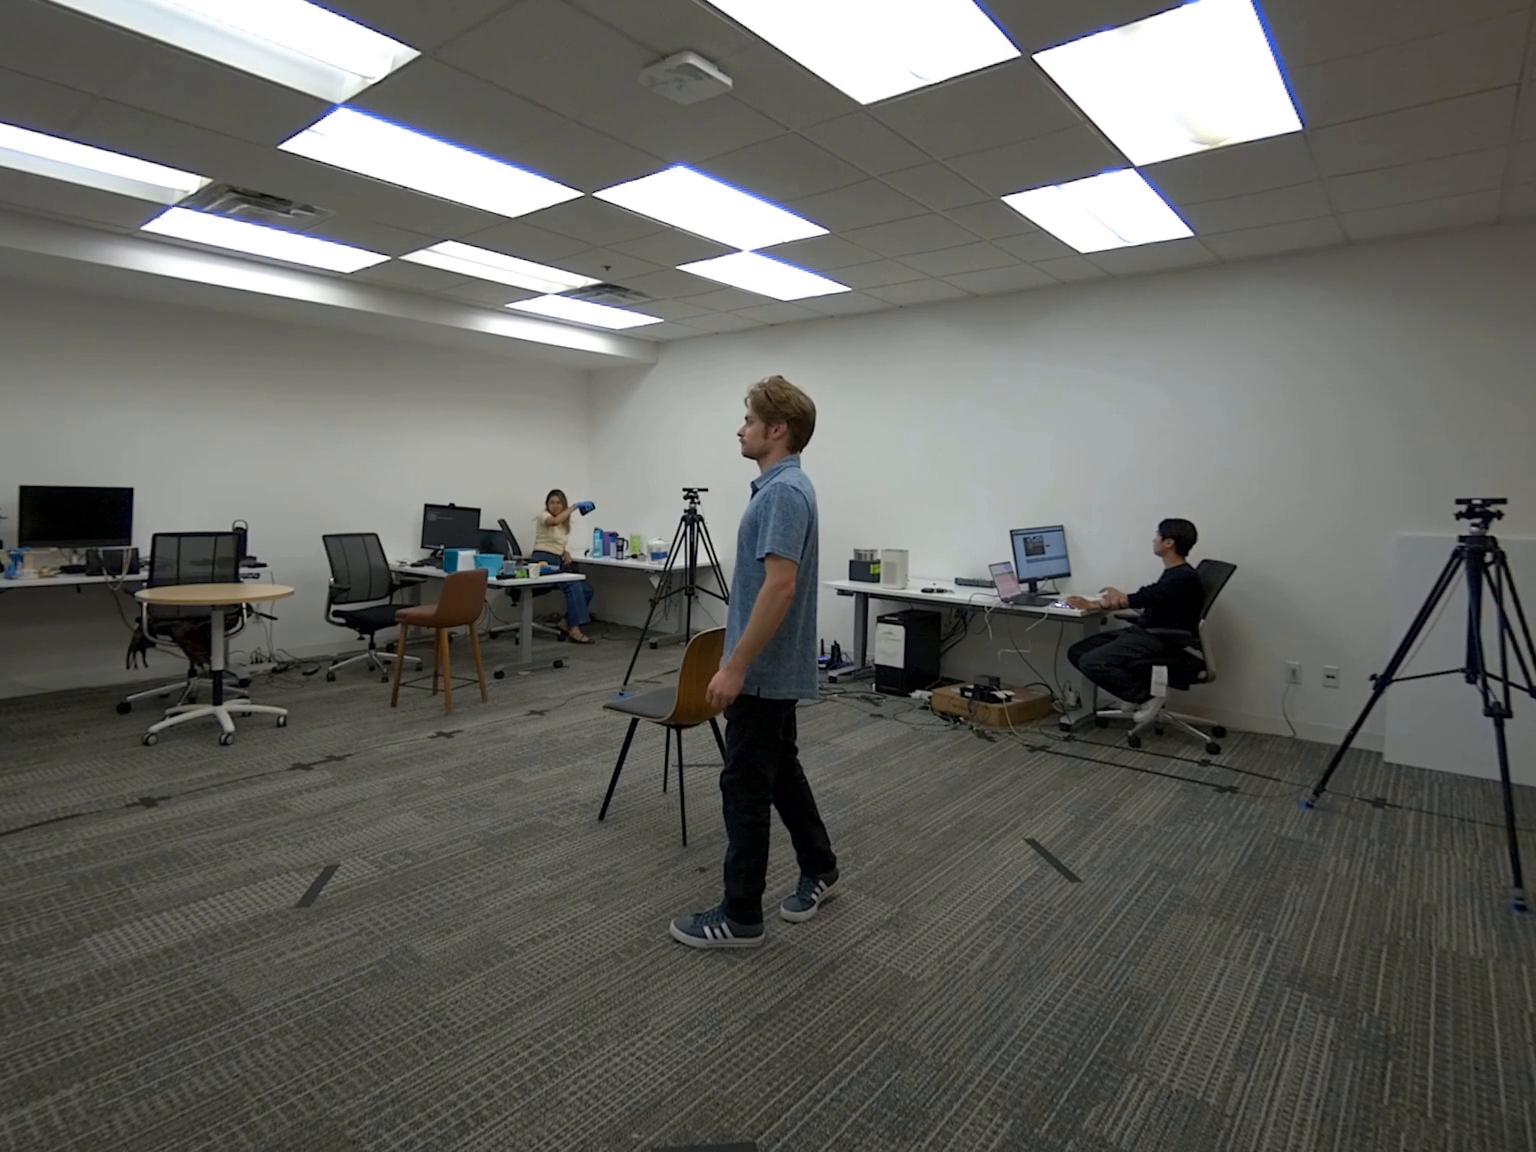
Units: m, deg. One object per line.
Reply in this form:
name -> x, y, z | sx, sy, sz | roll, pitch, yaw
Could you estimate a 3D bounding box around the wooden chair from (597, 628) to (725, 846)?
wooden chair -> -0.410, 0.591, 3.583 | 0.540, 0.873, 0.465 | 9, 7, 32
